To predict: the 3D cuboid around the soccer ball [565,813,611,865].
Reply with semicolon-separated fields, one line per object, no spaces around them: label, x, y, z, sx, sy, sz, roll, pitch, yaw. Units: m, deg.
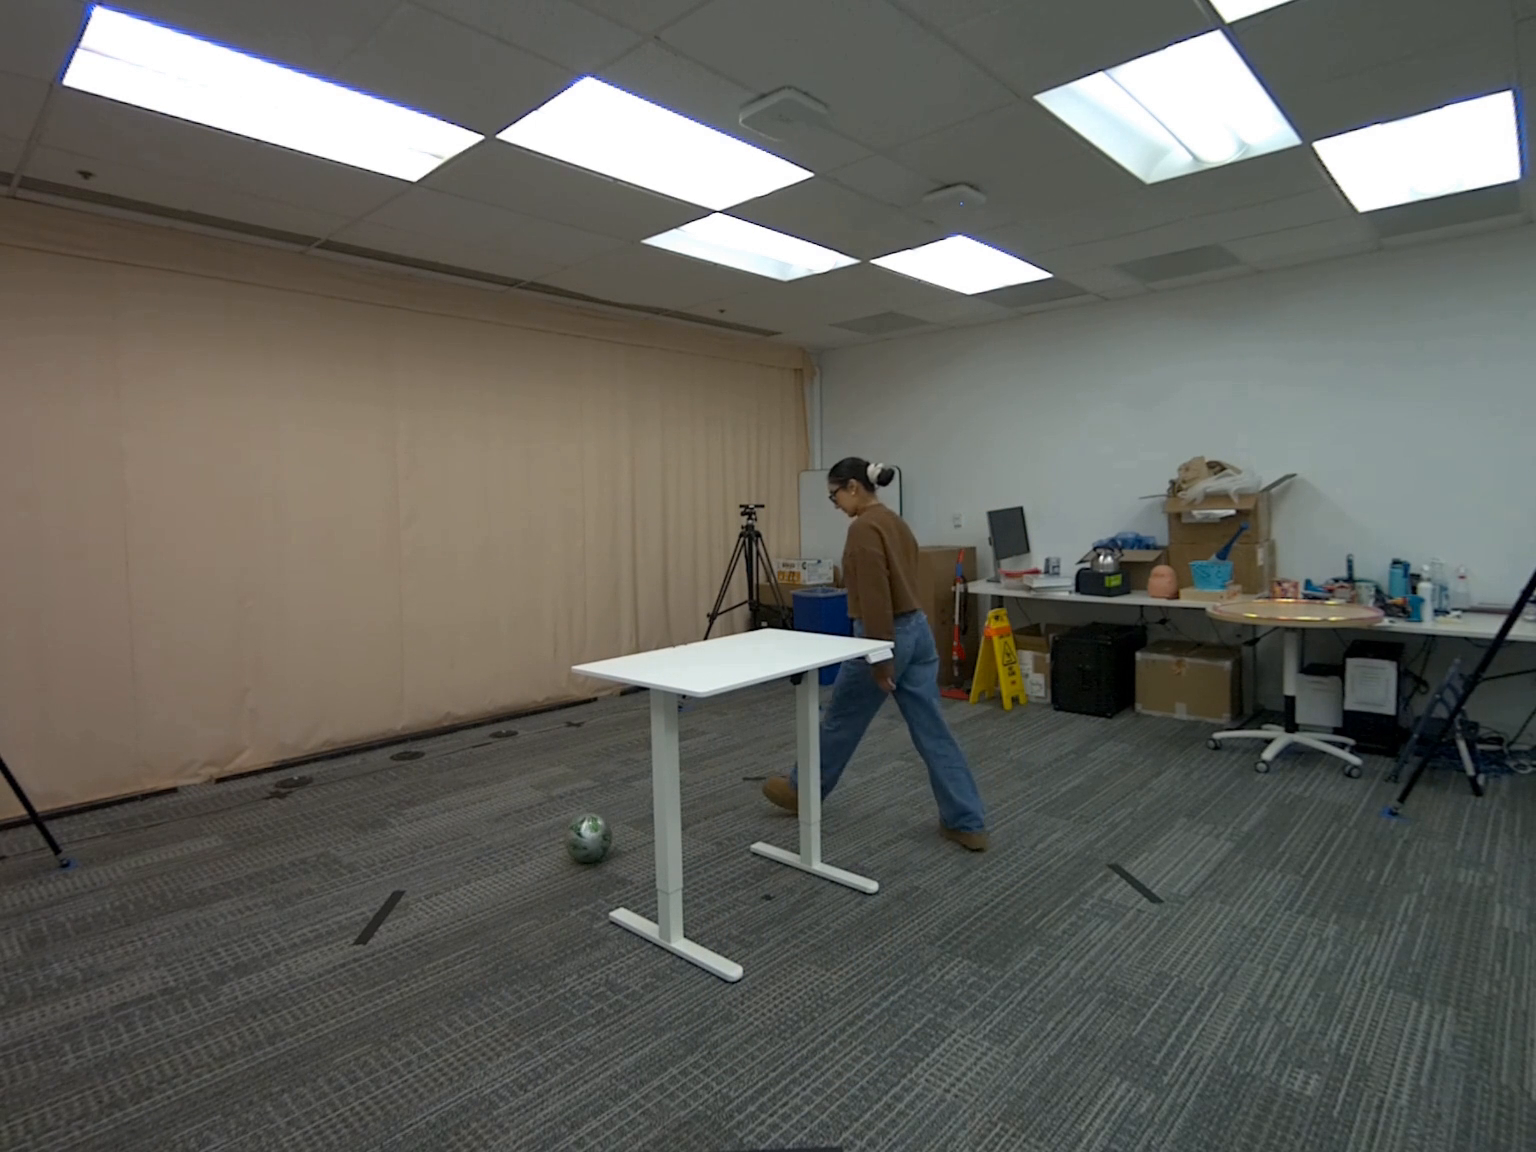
soccer ball;-0.710;1.036;3.326;0.187;0.187;0.188;-1;4;-2
